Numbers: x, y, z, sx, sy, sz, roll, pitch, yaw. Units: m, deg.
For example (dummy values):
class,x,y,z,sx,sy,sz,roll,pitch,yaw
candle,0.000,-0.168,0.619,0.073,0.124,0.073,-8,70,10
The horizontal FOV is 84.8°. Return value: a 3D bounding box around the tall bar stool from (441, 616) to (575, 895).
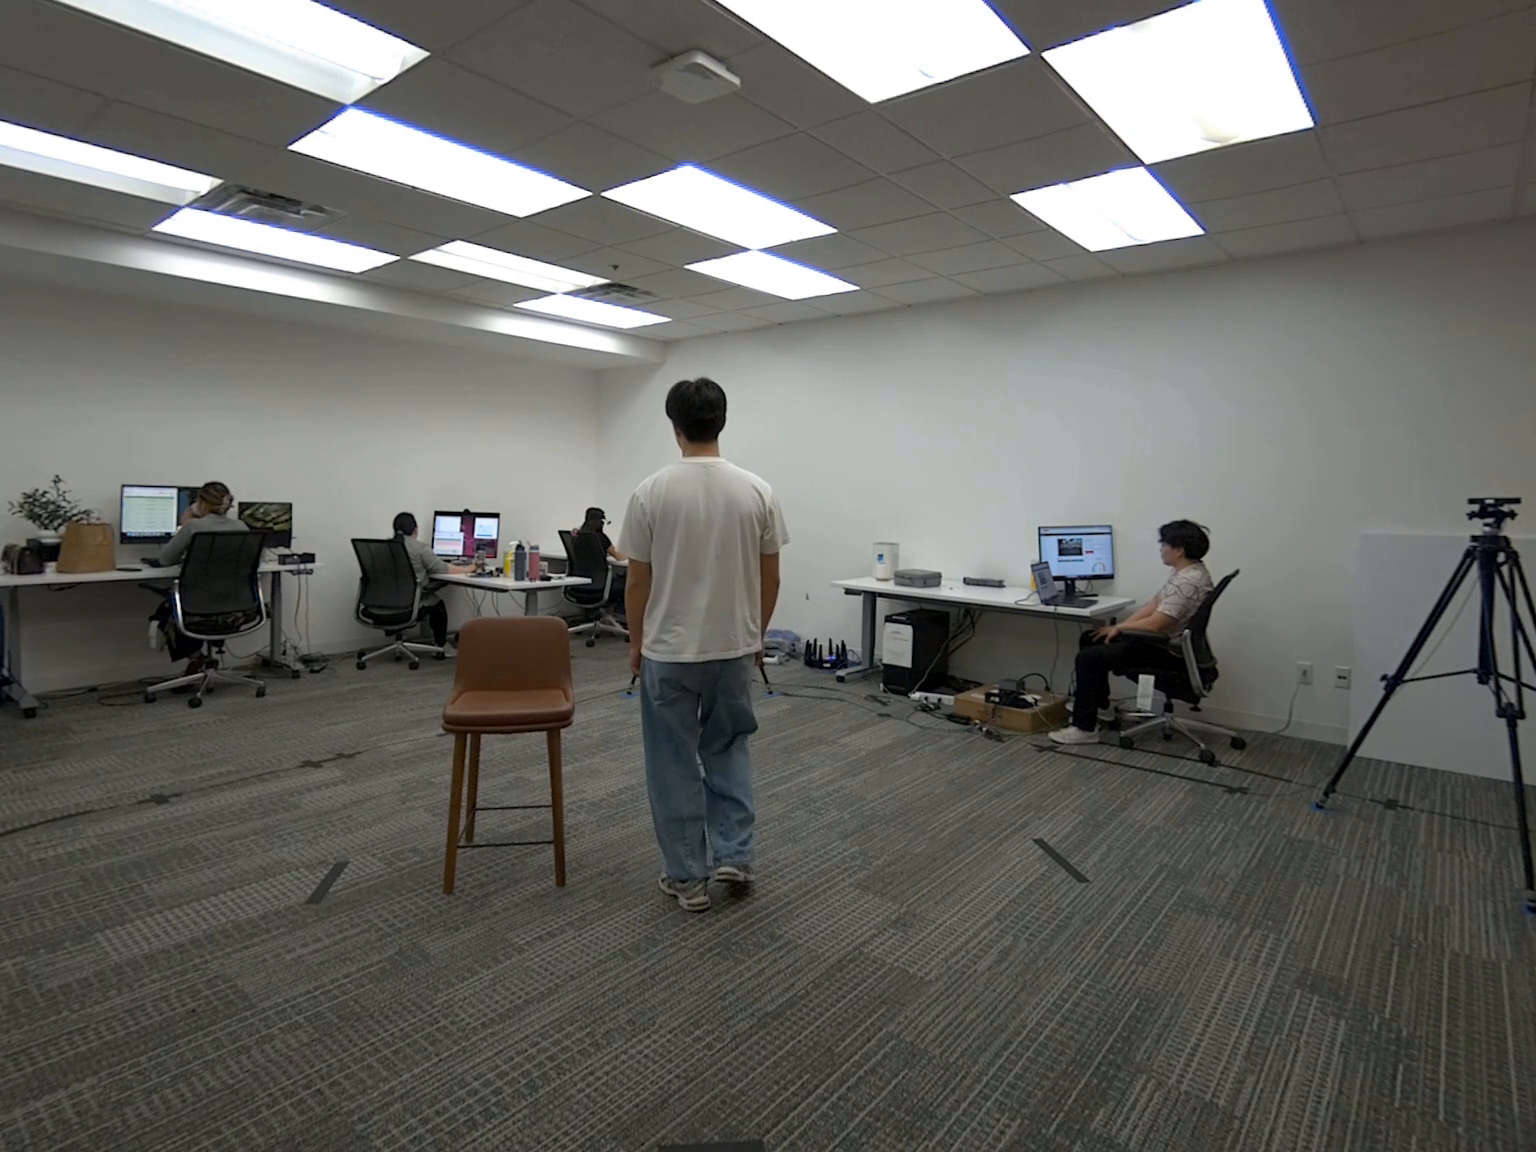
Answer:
class,x,y,z,sx,sy,sz,roll,pitch,yaw
tall bar stool,-0.957,0.619,3.121,0.451,0.889,0.473,0,1,-11
